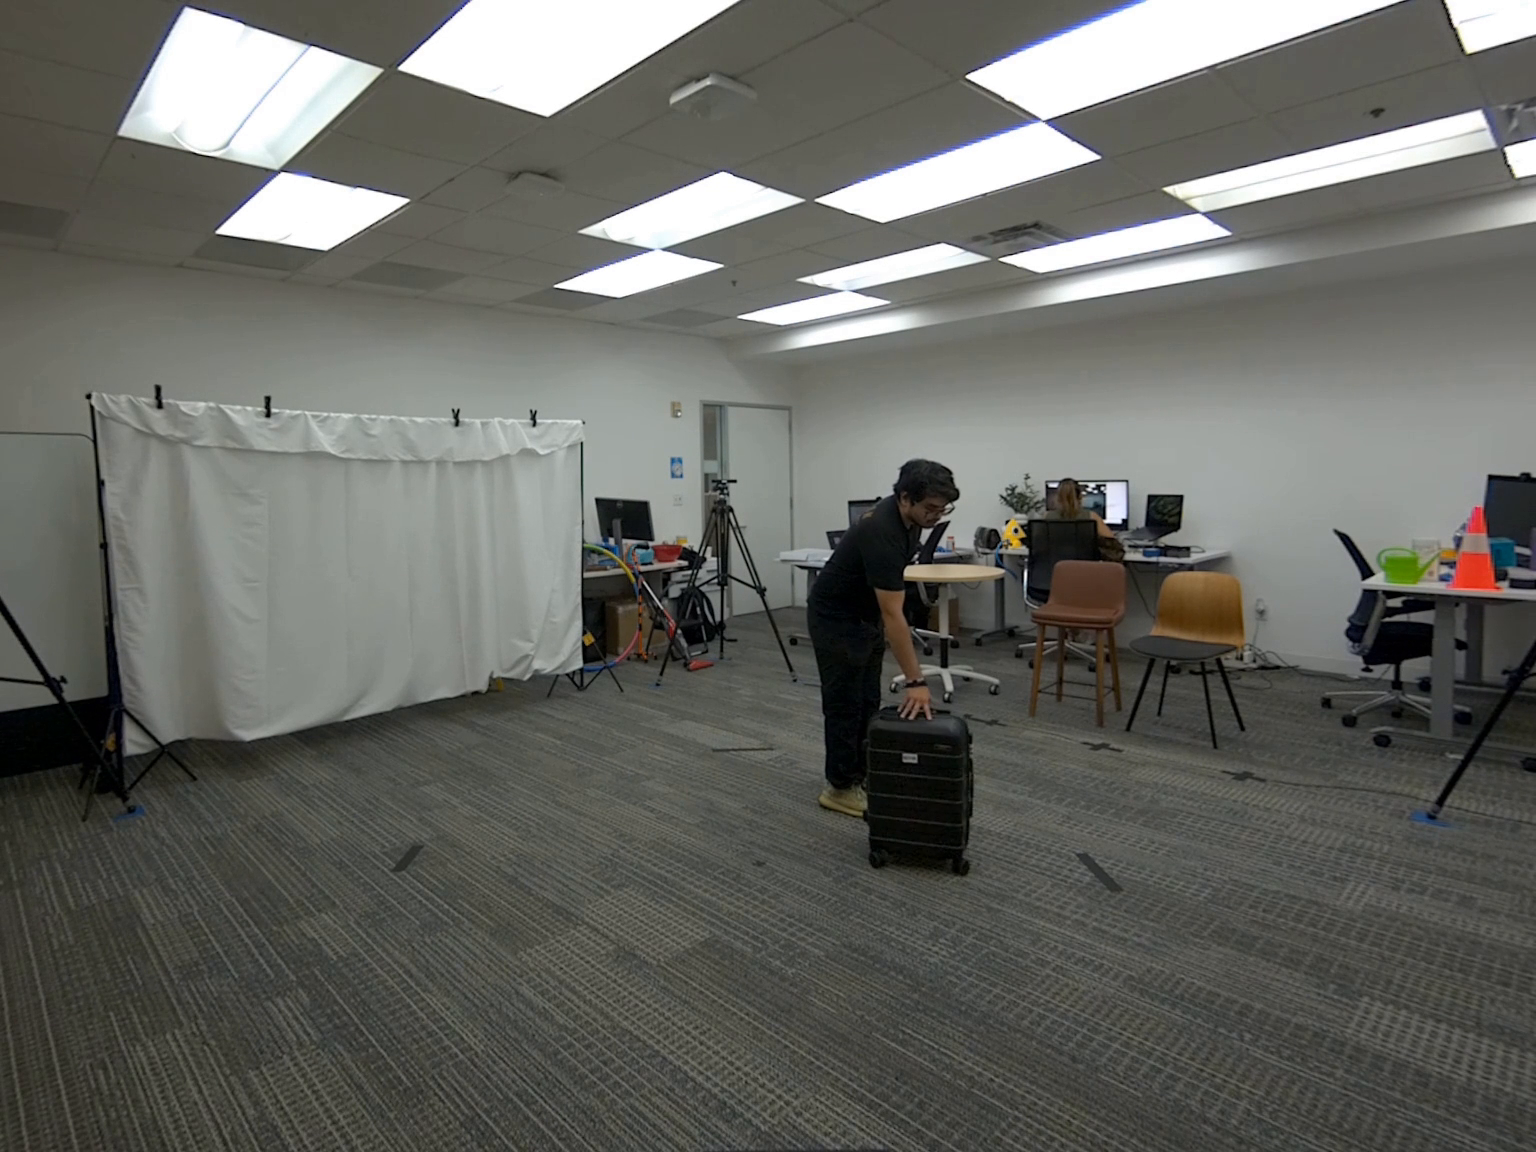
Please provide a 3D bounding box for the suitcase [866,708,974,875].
[{"bbox_3d":[0.560,0.765,3.125,0.382,0.547,0.245,0,5,18],"label":"suitcase"}]
